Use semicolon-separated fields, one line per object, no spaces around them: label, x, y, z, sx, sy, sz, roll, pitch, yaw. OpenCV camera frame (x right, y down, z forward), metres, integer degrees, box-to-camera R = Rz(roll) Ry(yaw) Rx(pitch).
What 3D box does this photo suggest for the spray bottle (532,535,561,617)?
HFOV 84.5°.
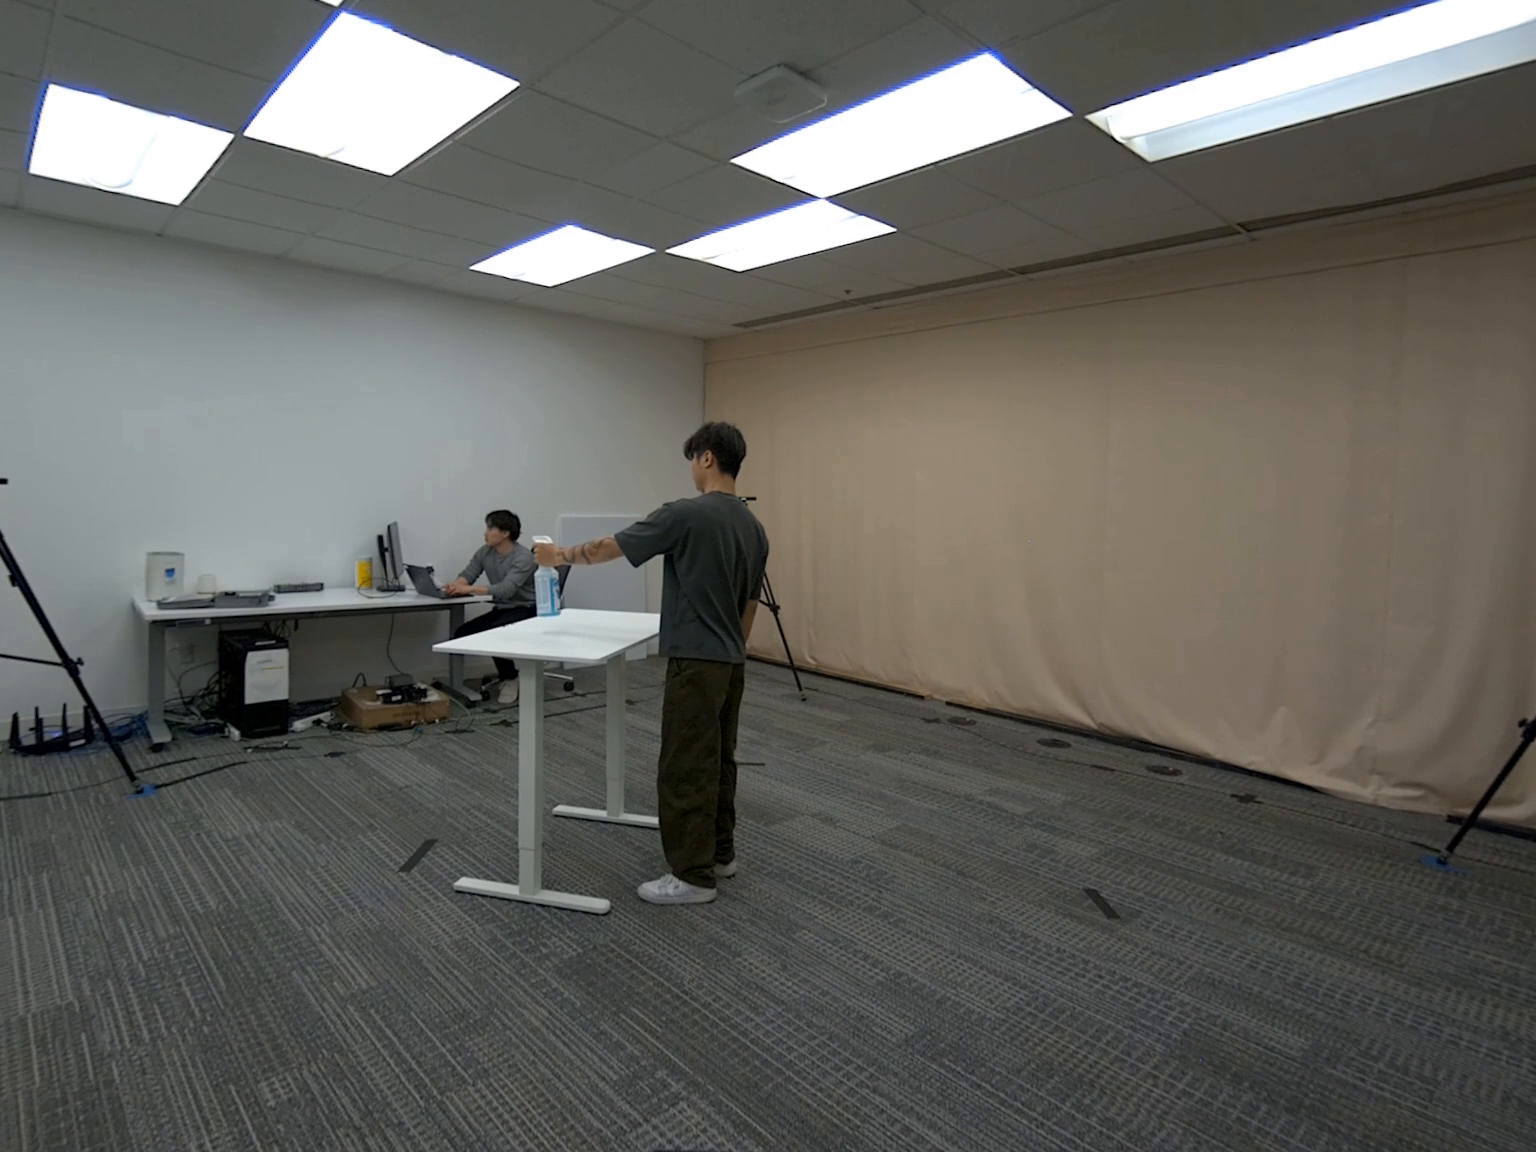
spray bottle;-0.818;0.003;3.097;0.085;0.297;0.092;-4;-1;-36
